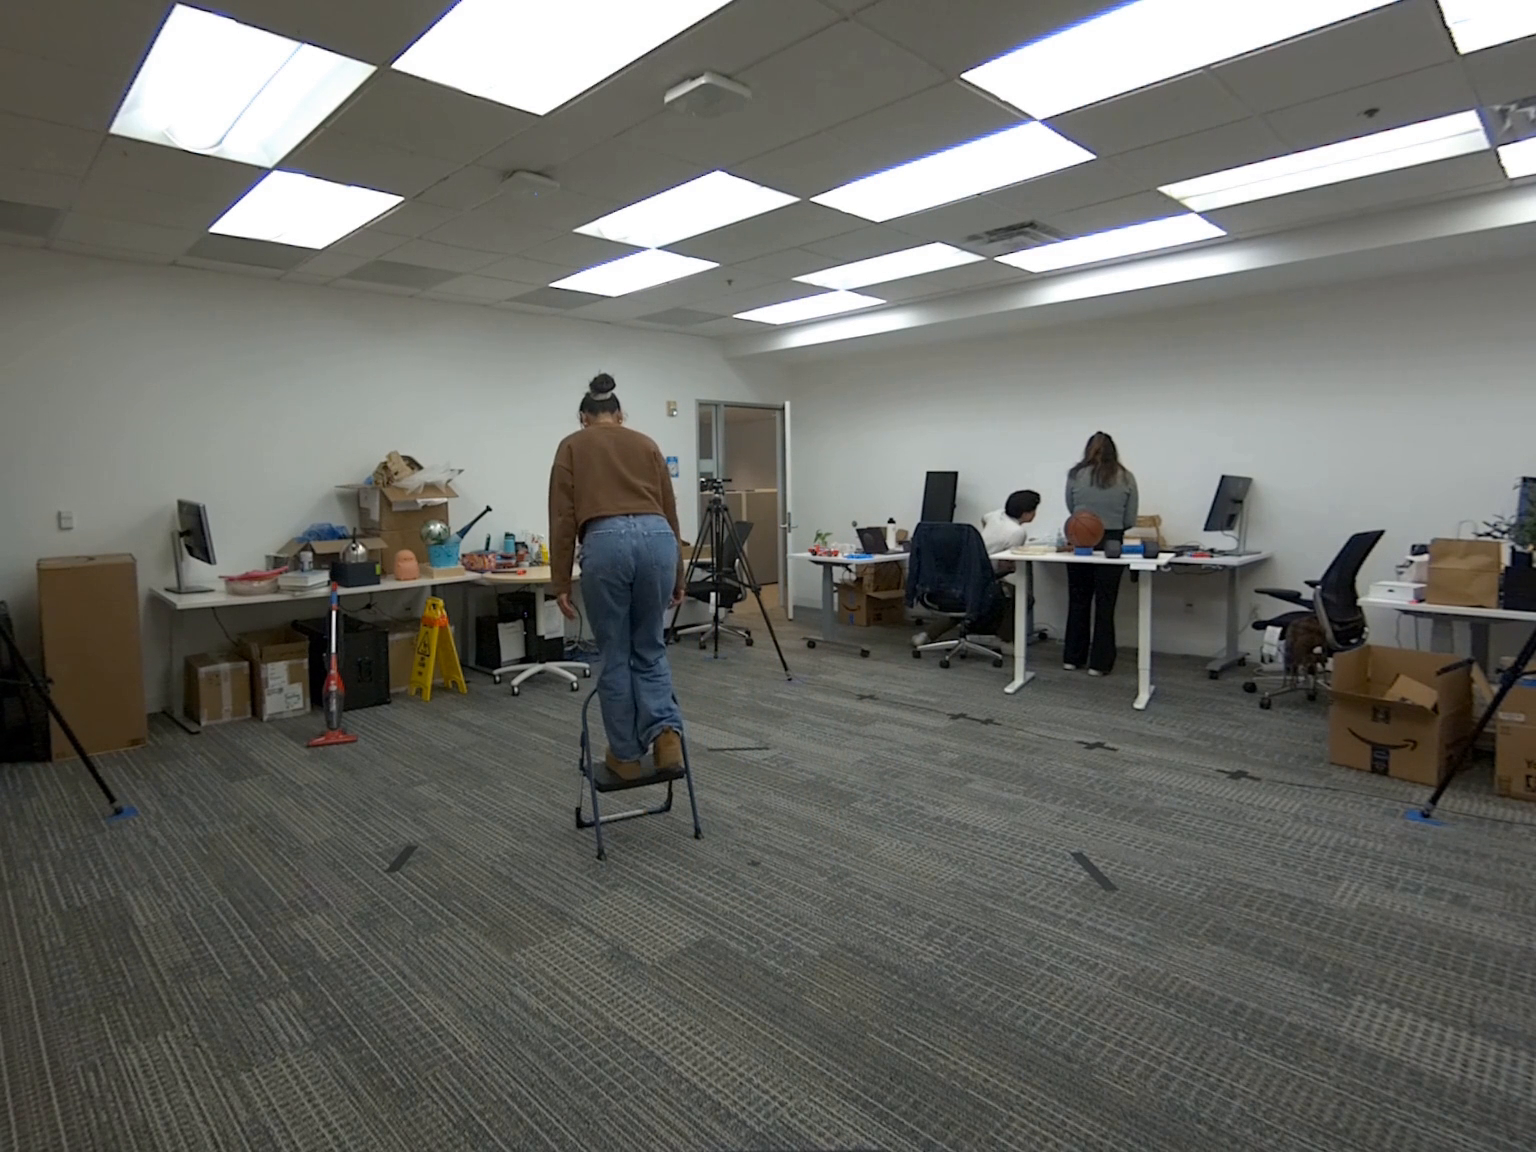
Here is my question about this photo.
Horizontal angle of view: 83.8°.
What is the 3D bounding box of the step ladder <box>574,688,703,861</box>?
[{"bbox_3d":[-0.523,0.719,3.385,0.421,0.604,0.358,-3,4,-28],"label":"step ladder"}]
